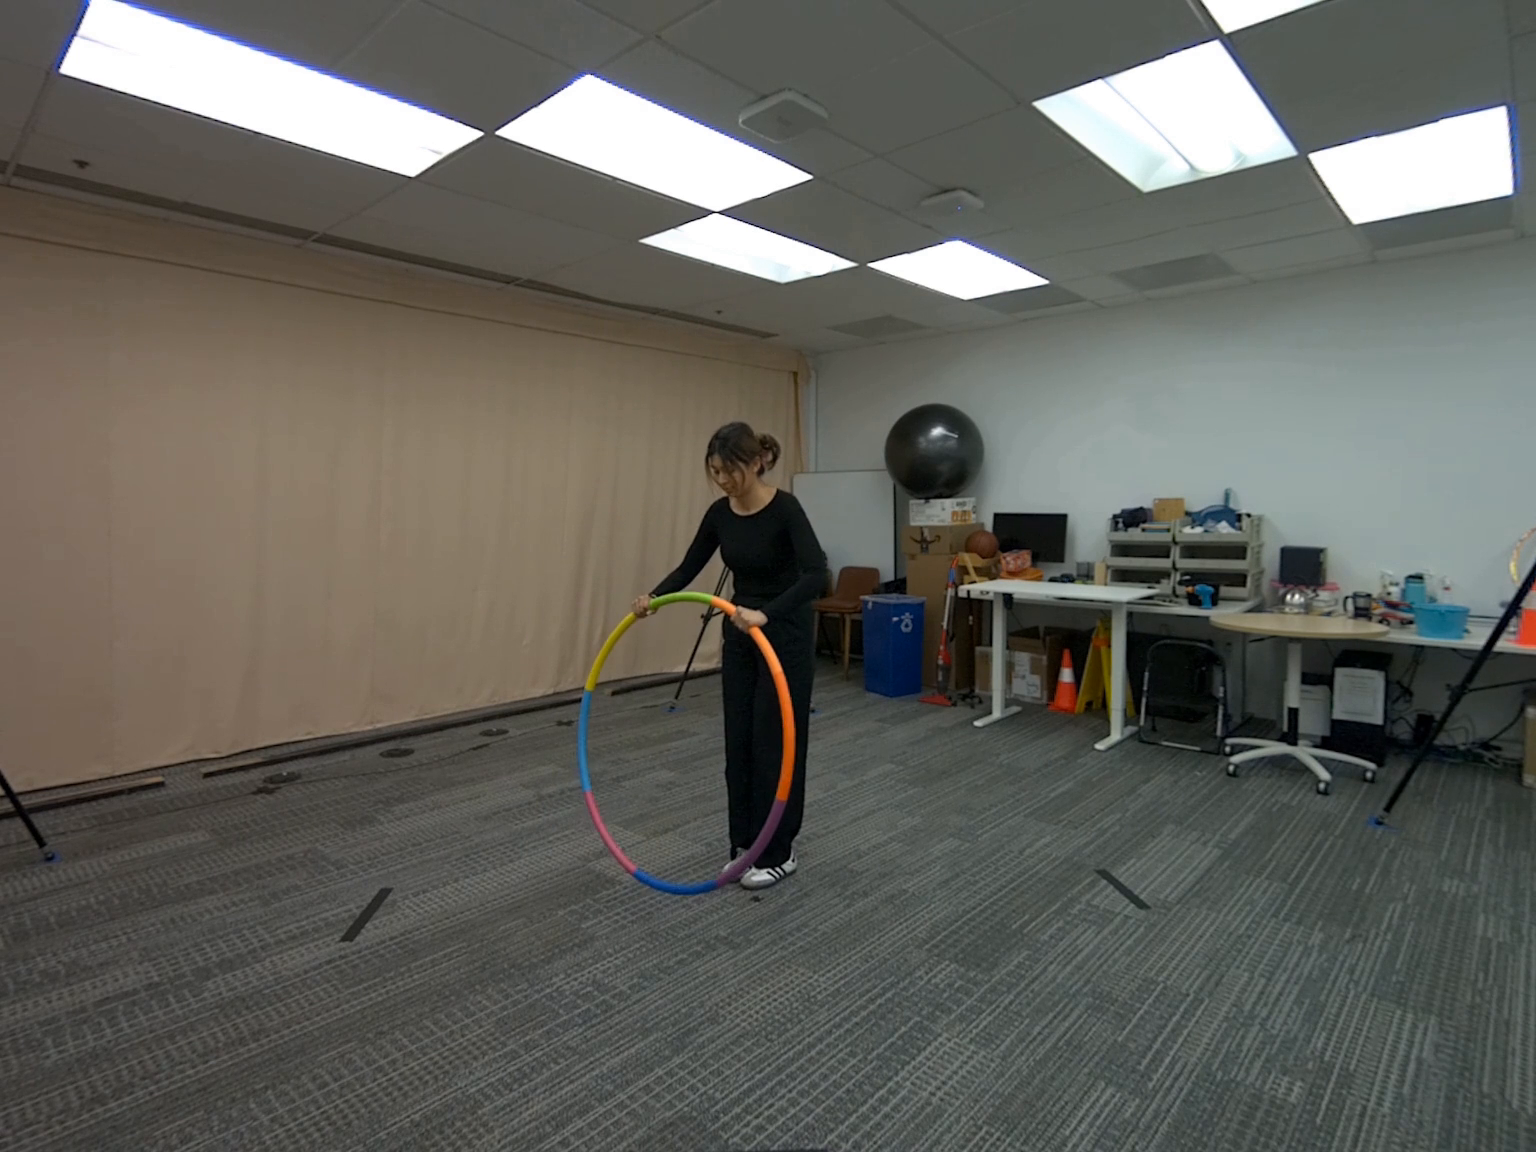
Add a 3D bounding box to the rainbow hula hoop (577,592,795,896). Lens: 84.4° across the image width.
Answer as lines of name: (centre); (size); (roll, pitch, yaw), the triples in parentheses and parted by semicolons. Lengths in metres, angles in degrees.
rainbow hula hoop: (-0.317, 0.530, 2.812); (1.011, 0.981, 0.034); (3, -8, 41)
